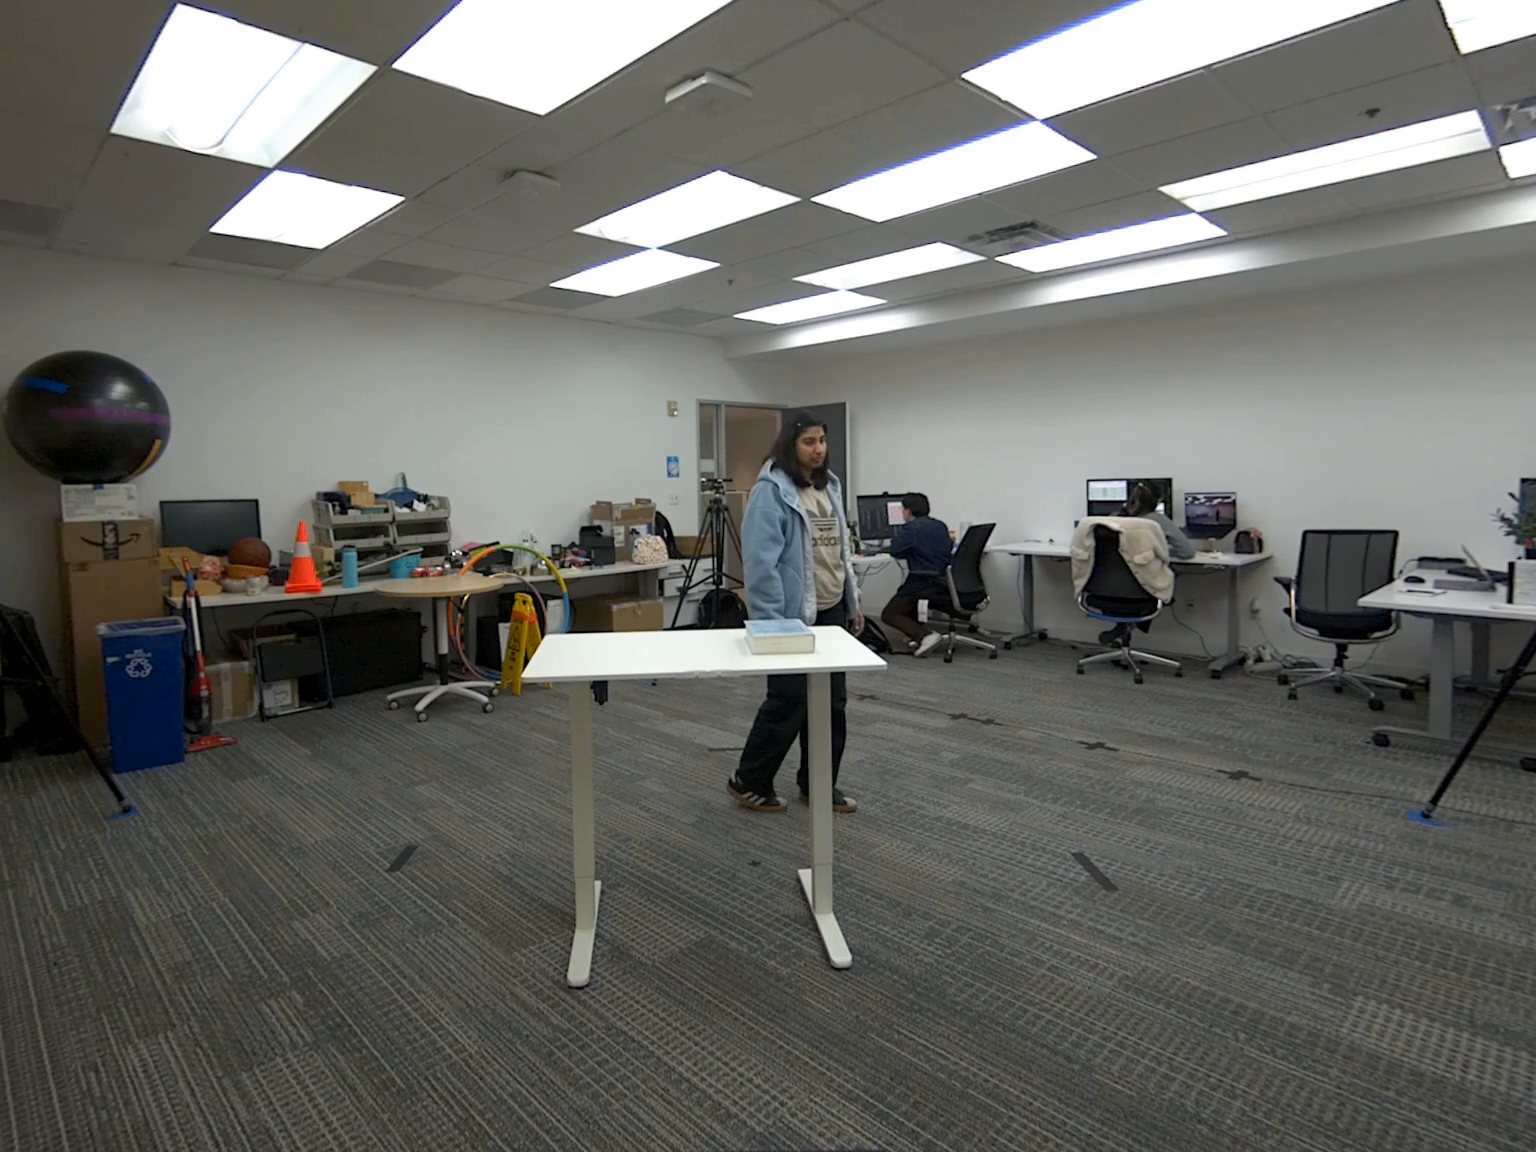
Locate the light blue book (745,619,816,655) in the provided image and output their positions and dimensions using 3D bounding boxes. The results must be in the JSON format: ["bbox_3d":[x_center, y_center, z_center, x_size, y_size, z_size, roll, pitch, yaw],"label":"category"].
[{"bbox_3d":[0.033,0.188,2.648,0.191,0.059,0.263,-1,7,-4],"label":"light blue book"}]
